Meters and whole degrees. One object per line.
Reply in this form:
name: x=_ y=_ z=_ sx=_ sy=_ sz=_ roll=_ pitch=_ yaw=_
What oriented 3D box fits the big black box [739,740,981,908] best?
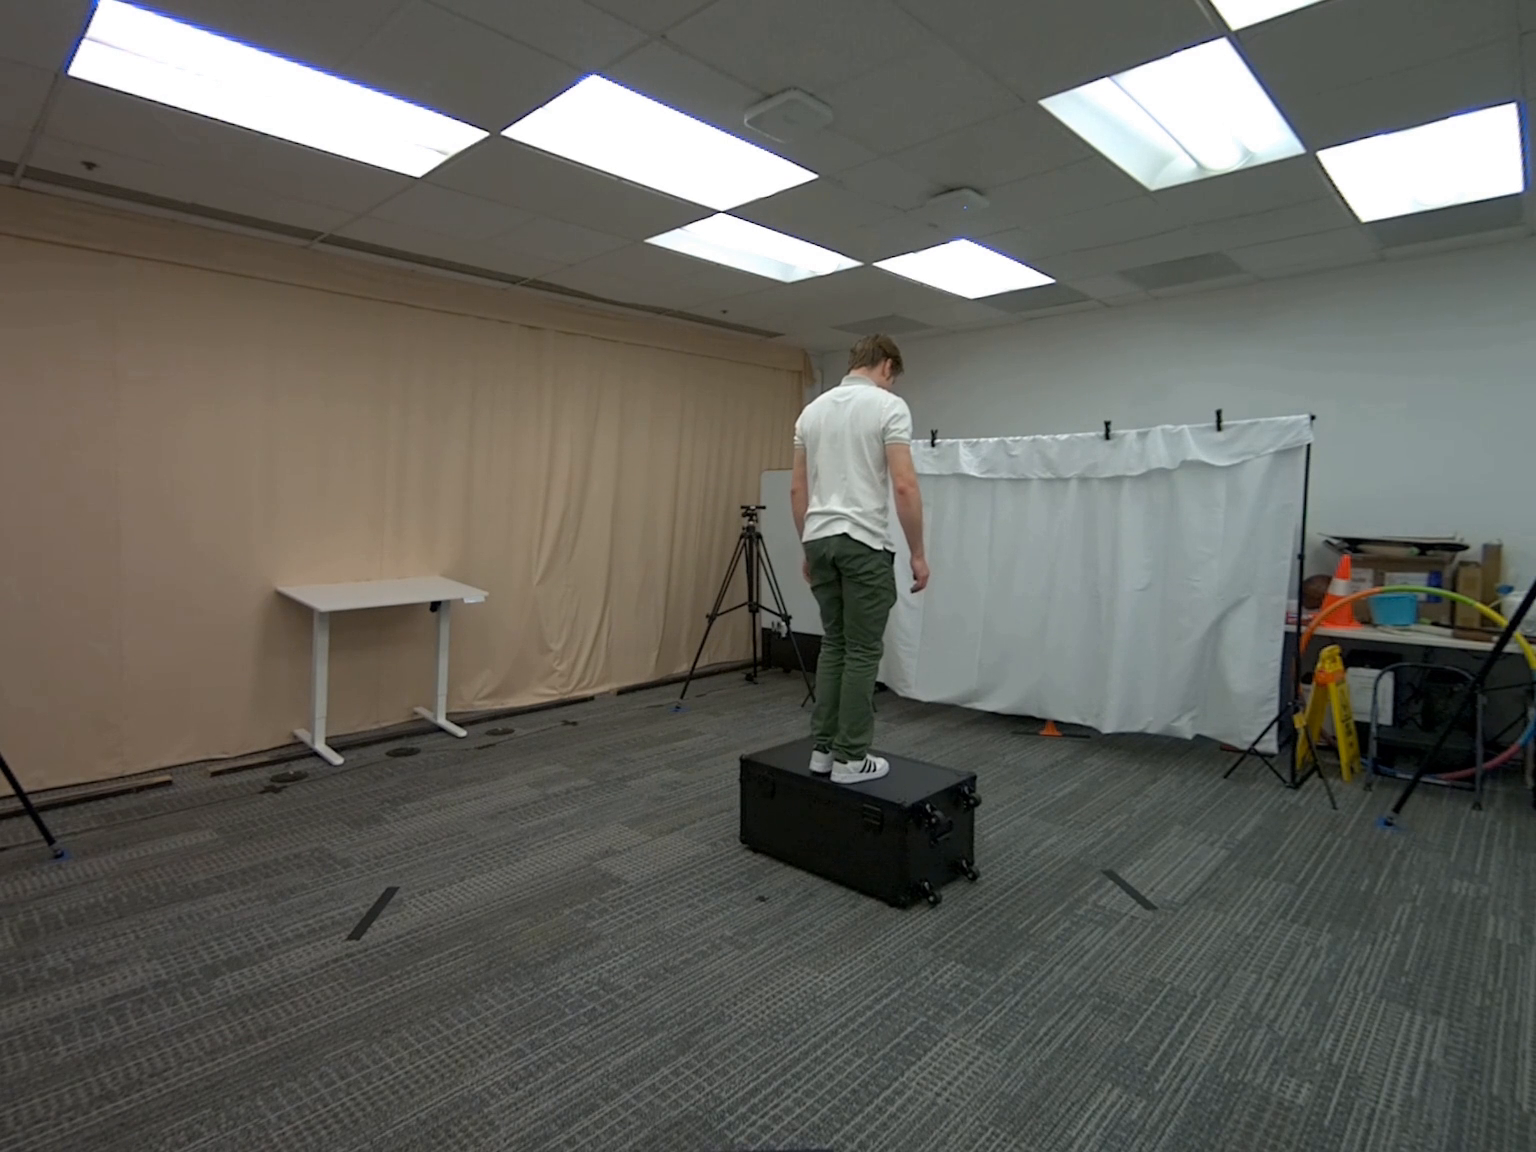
big black box: x=0.362 y=0.927 z=3.274 sx=0.898 sy=0.384 sz=0.507 roll=5 pitch=5 yaw=43
